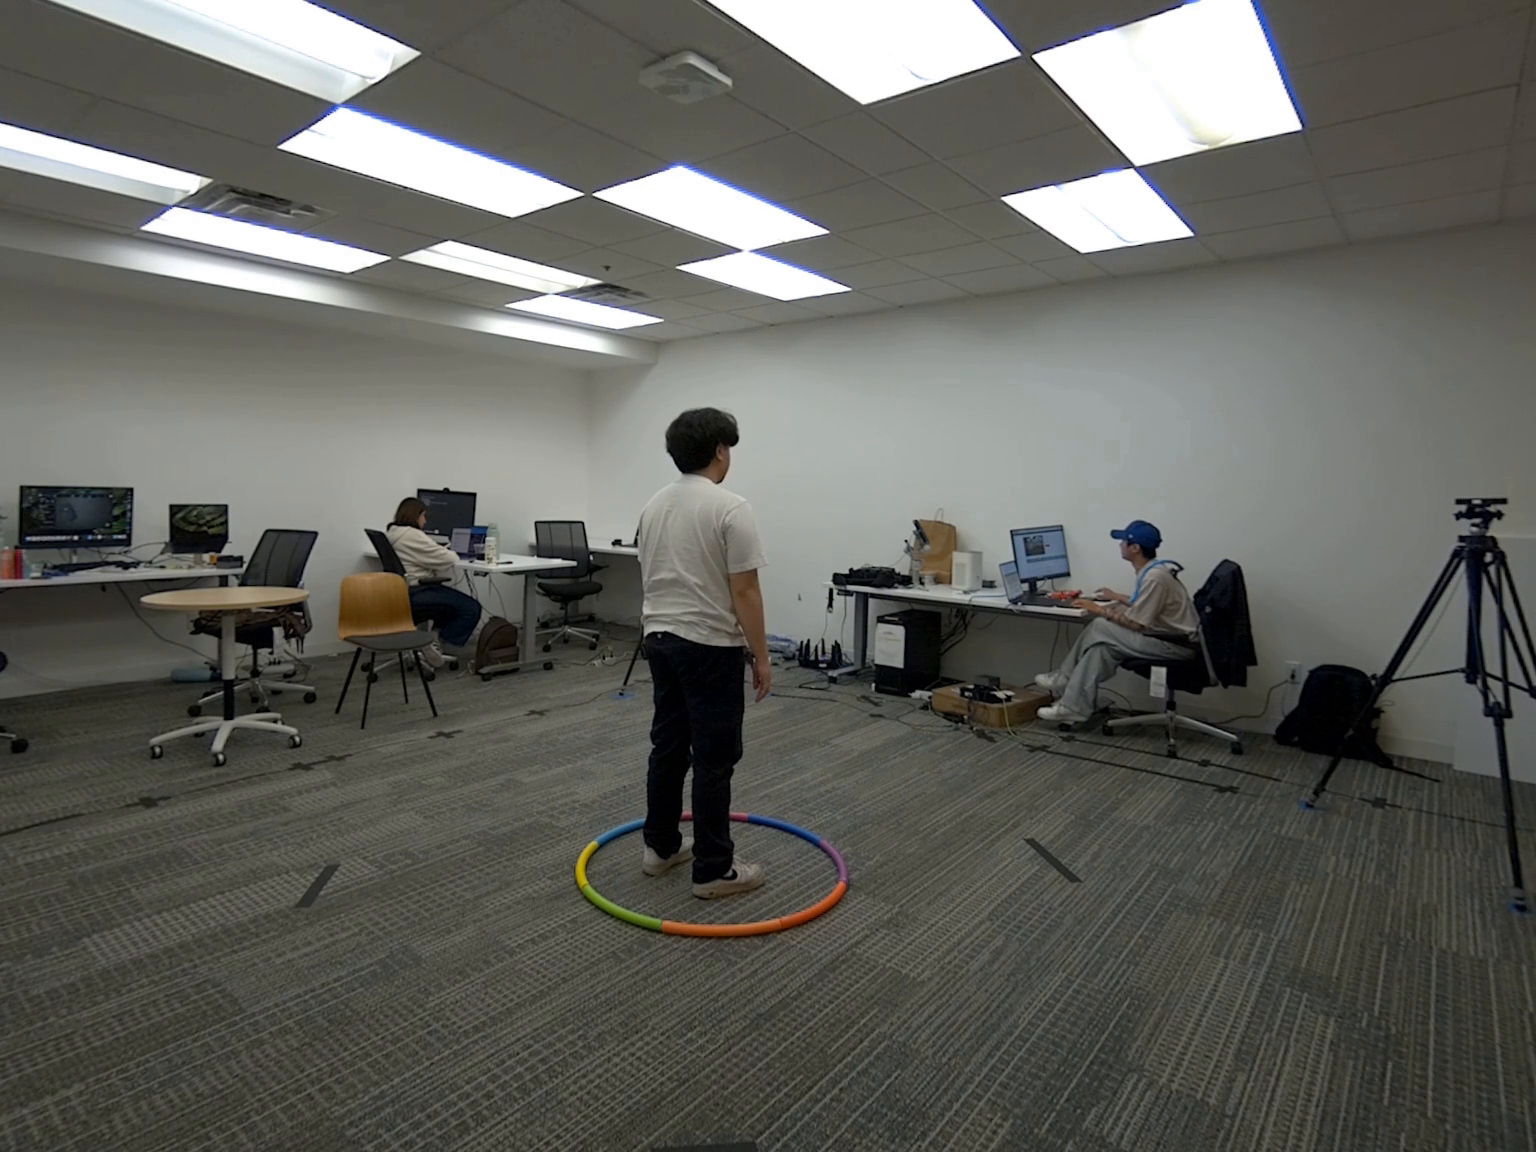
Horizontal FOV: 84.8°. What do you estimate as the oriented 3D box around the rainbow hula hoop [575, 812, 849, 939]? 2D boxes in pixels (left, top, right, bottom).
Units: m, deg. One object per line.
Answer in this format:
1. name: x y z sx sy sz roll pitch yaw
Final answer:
1. rainbow hula hoop: -0.212 1.043 3.107 0.984 0.051 0.990 1 5 -2
